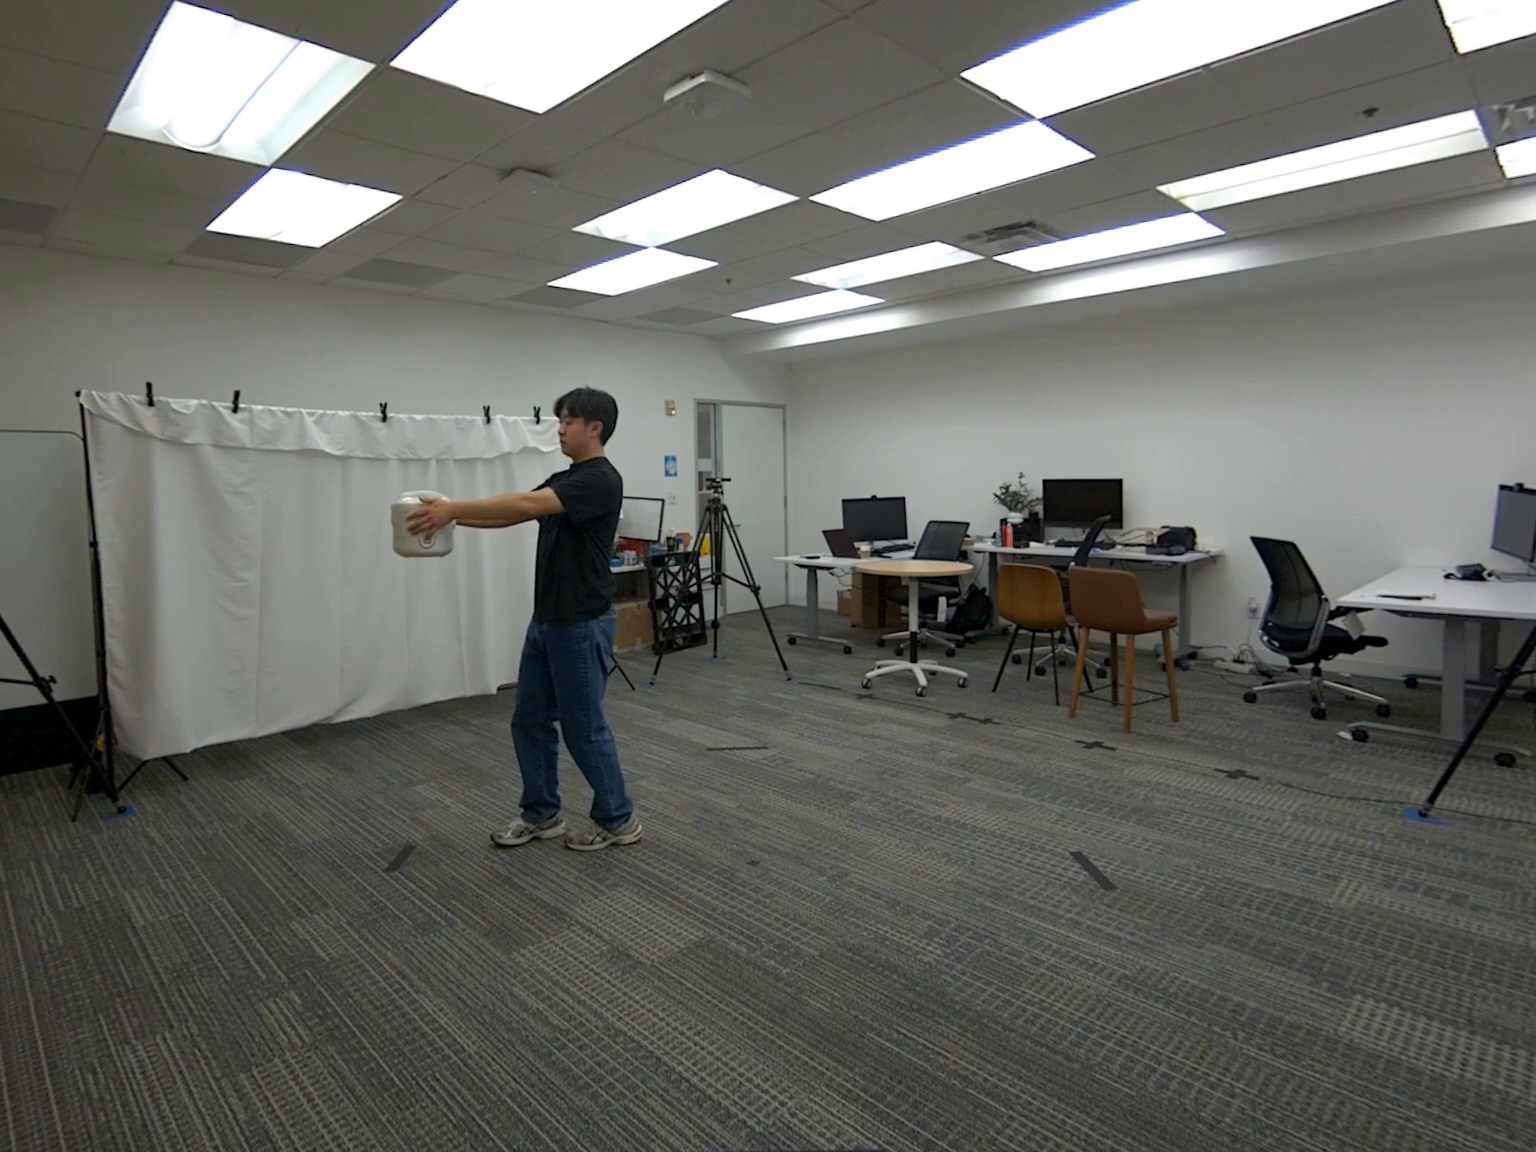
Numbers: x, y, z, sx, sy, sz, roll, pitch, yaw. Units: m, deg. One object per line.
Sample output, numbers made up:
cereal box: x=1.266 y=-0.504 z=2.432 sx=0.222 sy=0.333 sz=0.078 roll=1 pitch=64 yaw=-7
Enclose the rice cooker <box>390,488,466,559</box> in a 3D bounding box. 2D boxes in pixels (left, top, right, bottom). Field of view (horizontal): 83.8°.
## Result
rice cooker: x=-1.203 y=-0.190 z=3.019 sx=0.215 sy=0.232 sz=0.223 roll=-2 pitch=4 yaw=-29
